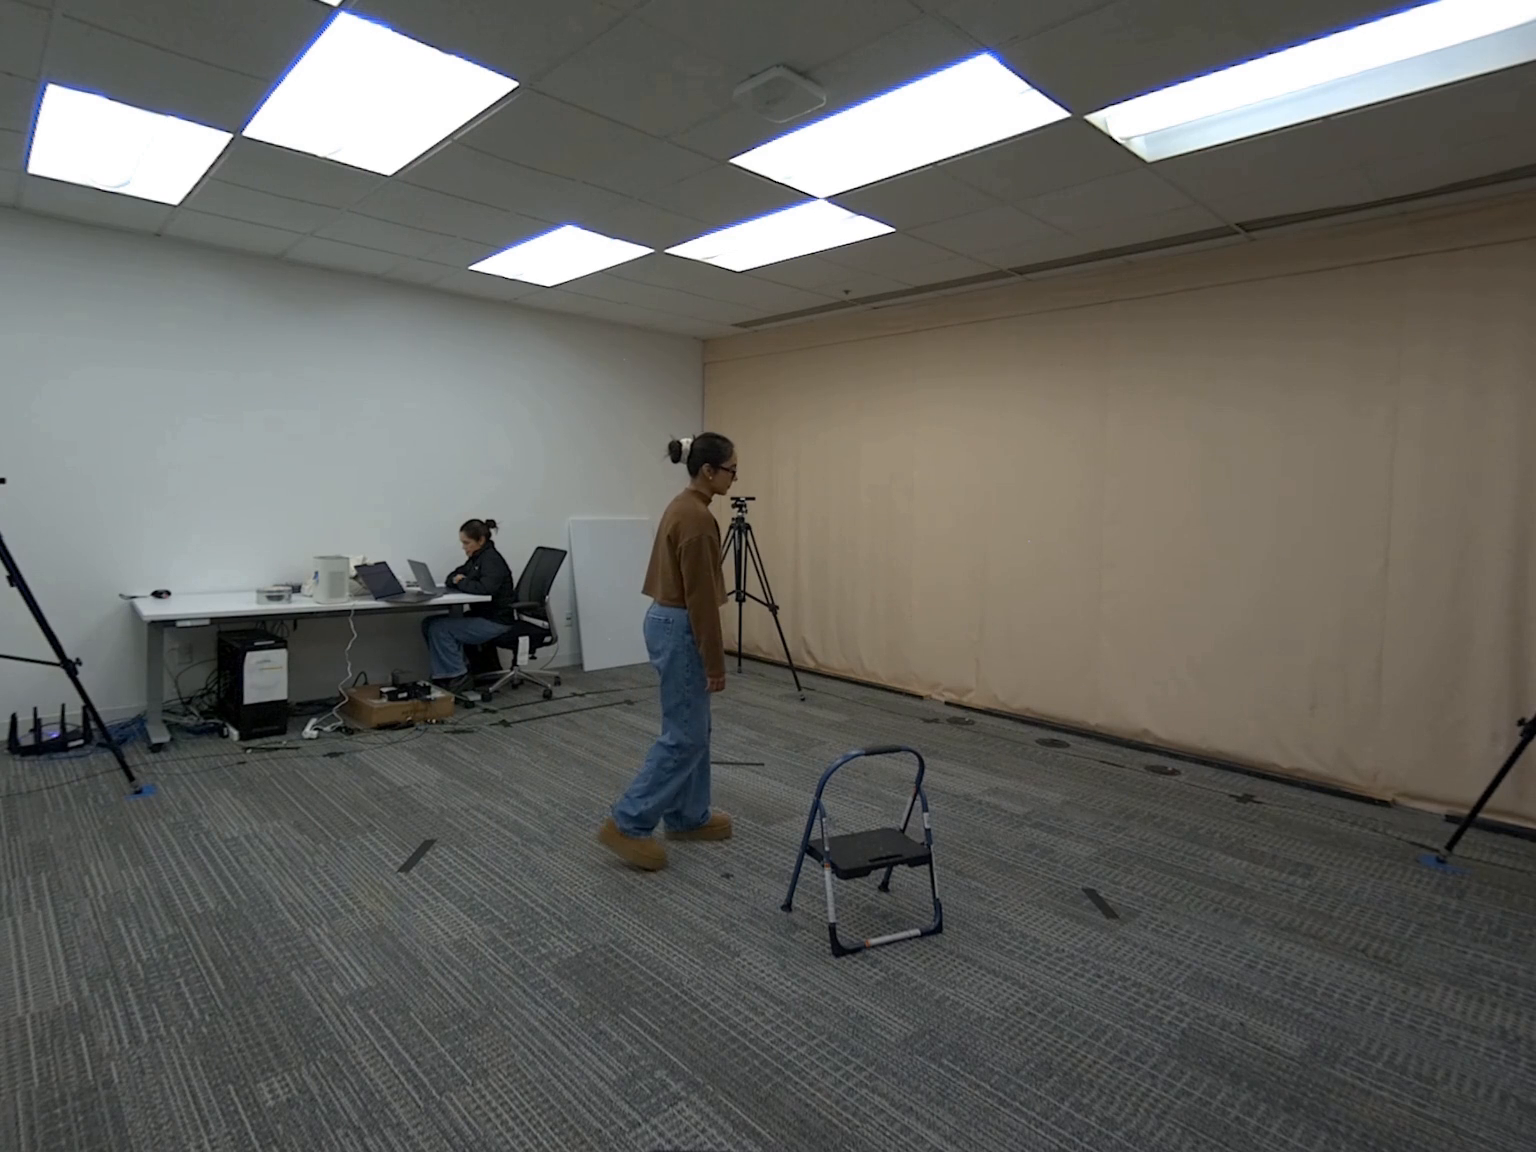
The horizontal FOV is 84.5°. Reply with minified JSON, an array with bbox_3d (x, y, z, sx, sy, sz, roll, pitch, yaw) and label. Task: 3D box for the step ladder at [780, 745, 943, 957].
[{"bbox_3d":[0.314,0.843,2.779,0.422,0.604,0.357,0,4,-27],"label":"step ladder"}]
